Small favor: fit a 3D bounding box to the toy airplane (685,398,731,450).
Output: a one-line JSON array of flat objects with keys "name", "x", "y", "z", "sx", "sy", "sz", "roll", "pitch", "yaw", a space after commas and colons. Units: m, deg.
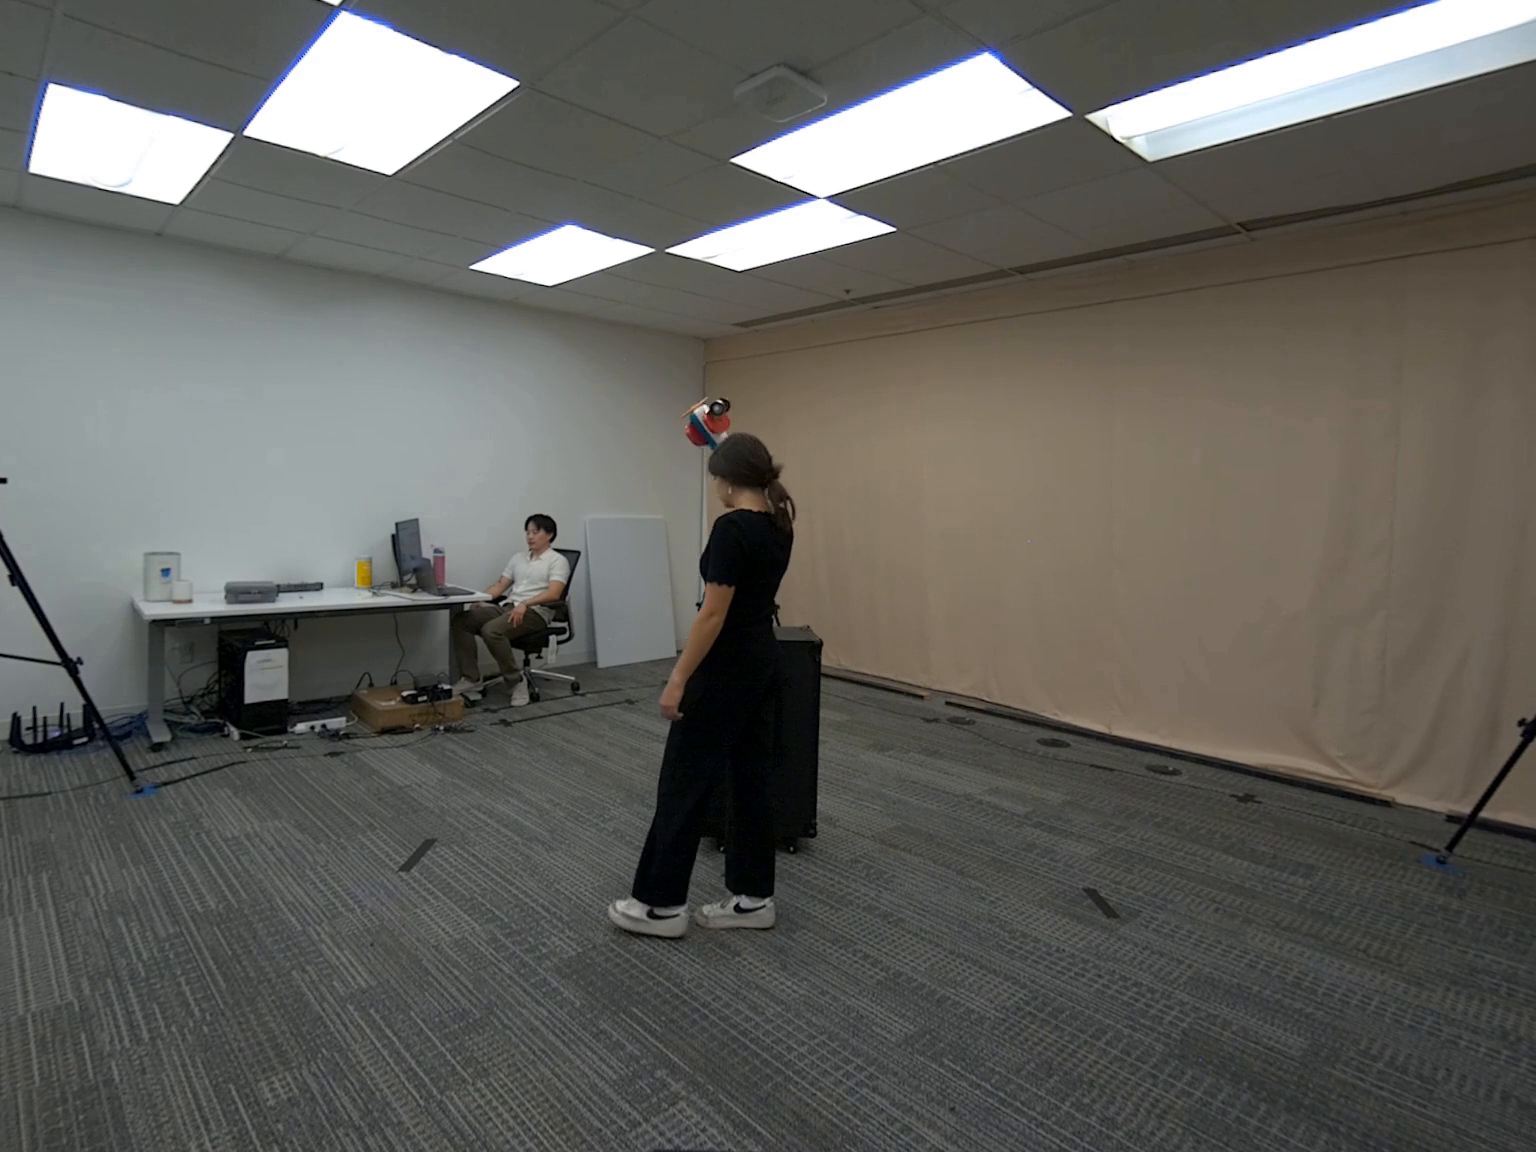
[{"name": "toy airplane", "x": -0.194, "y": -0.503, "z": 3.008, "sx": 0.158, "sy": 0.263, "sz": 0.245, "roll": -20, "pitch": -17, "yaw": 19}]
